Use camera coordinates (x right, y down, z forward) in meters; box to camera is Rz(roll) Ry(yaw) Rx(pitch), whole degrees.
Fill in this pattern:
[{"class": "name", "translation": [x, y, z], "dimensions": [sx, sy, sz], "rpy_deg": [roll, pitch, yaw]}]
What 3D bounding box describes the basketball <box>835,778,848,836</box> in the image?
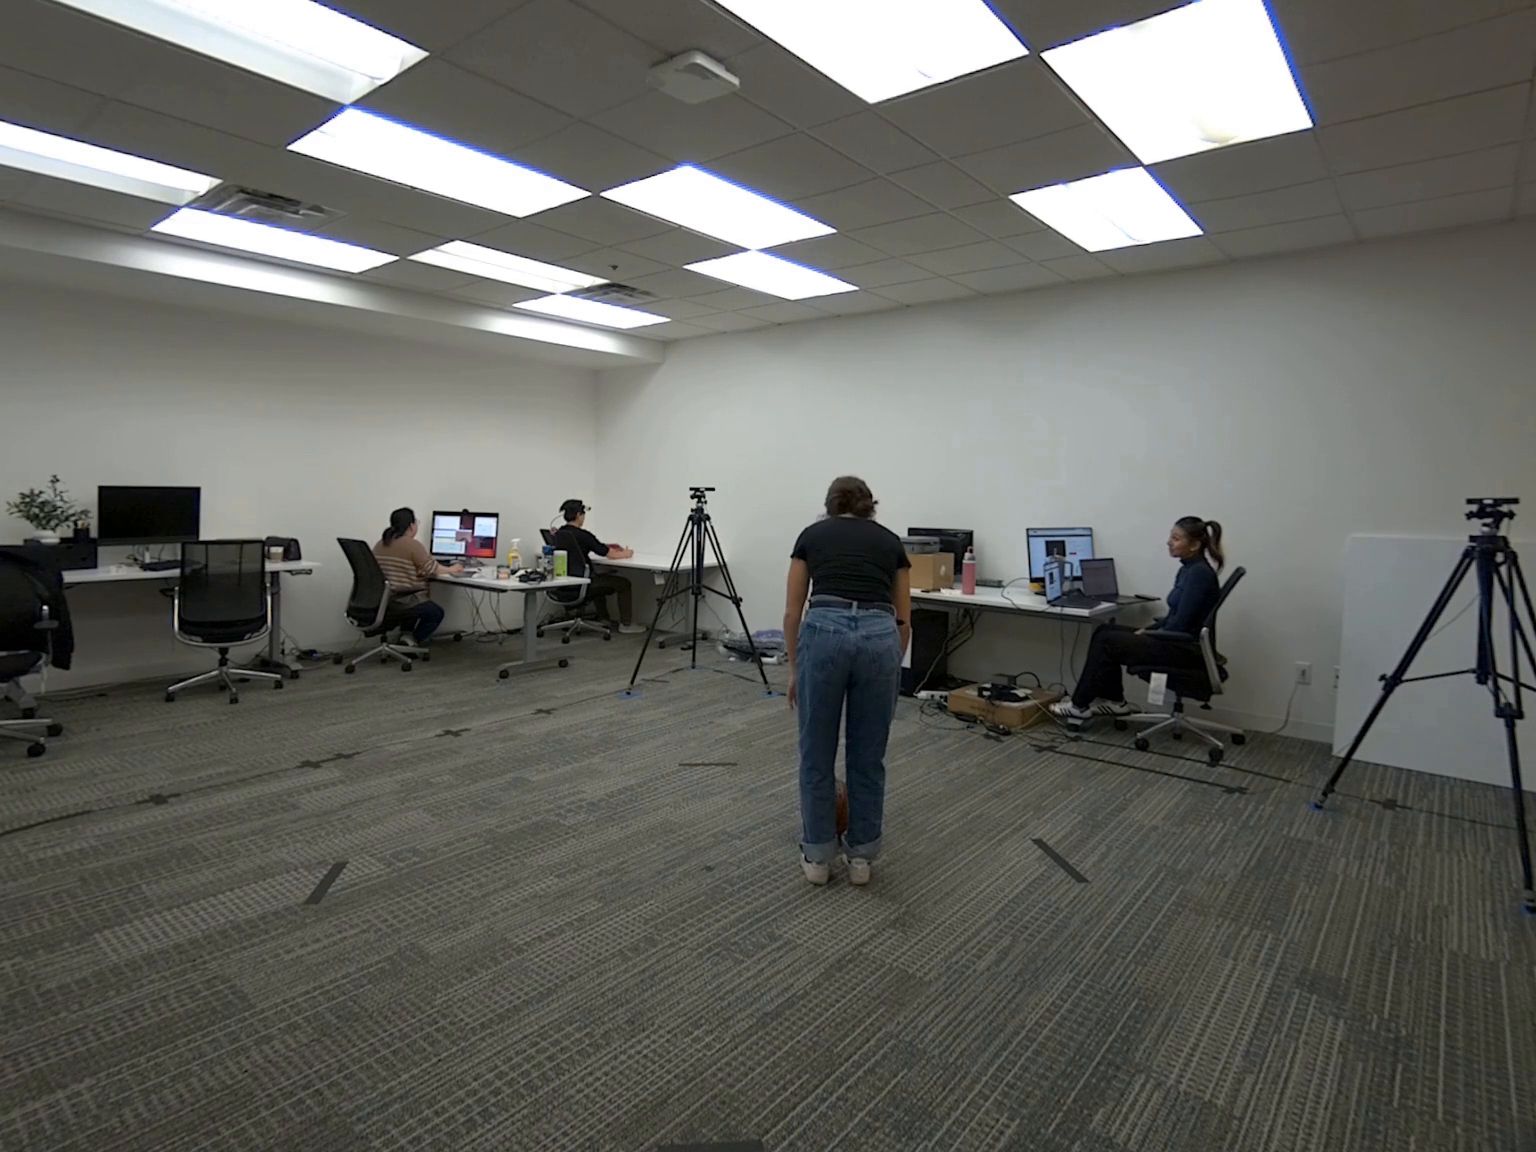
[{"class": "basketball", "translation": [0.244, 0.921, 3.393], "dimensions": [0.235, 0.235, 0.237], "rpy_deg": [1, 4, -2]}]
